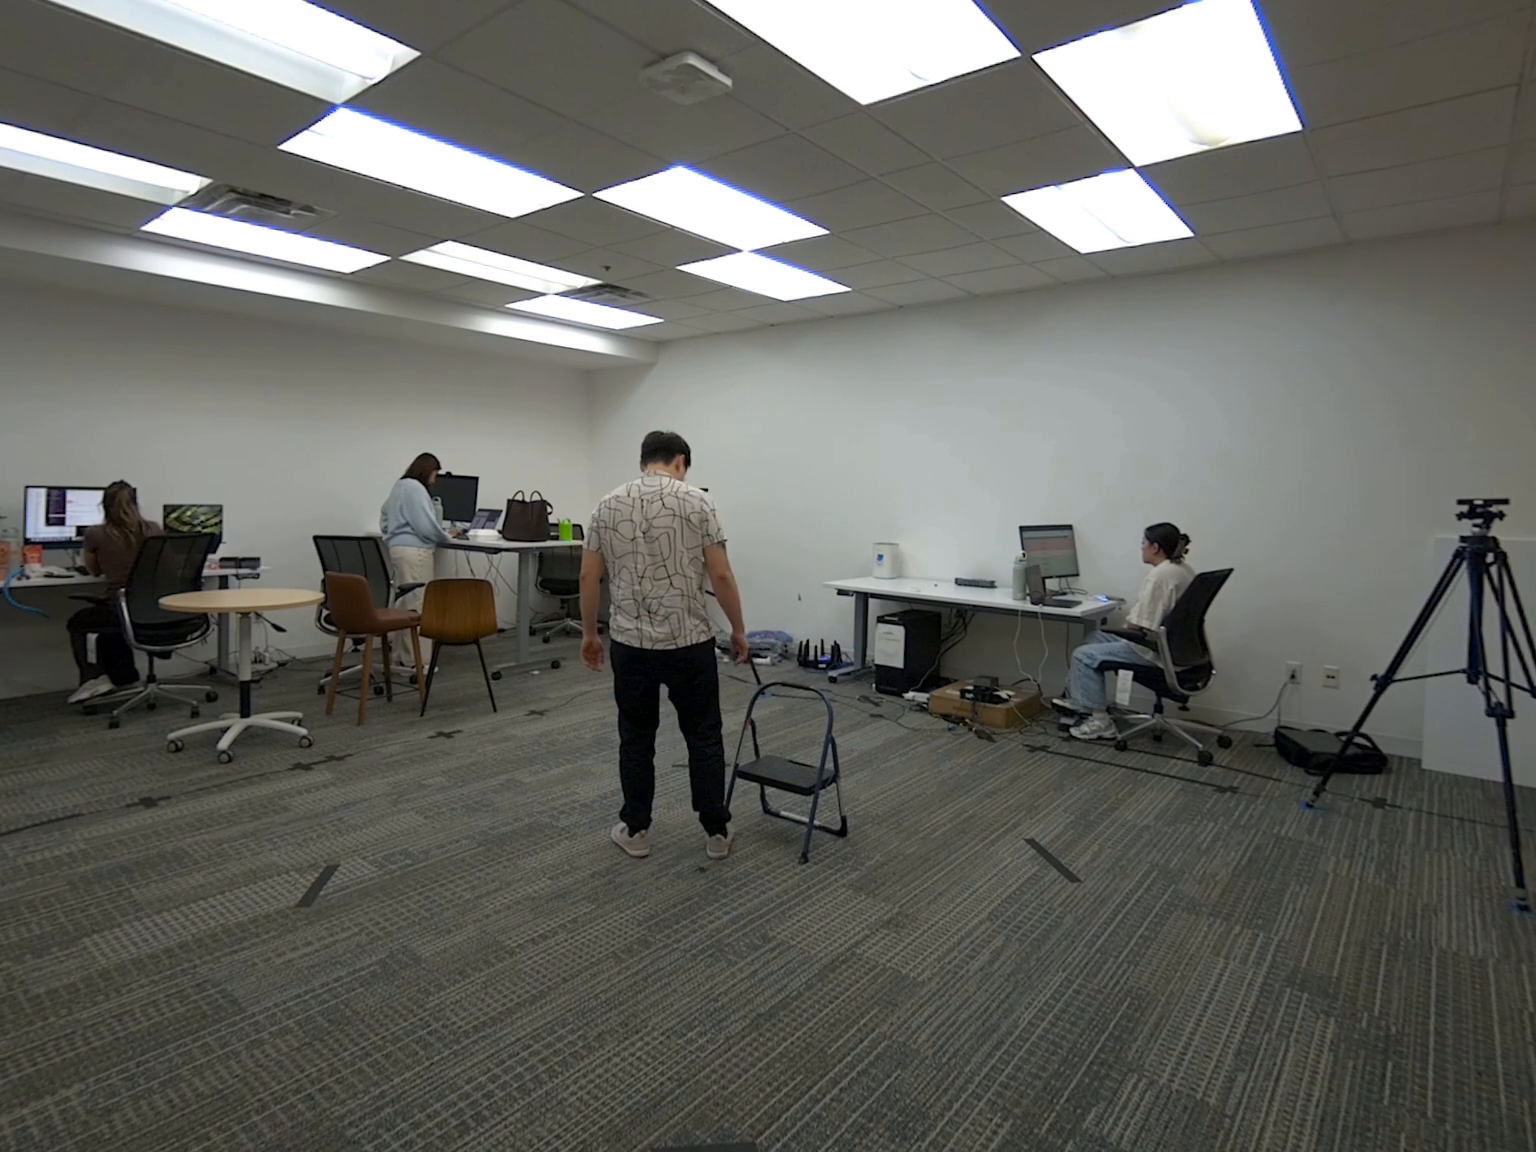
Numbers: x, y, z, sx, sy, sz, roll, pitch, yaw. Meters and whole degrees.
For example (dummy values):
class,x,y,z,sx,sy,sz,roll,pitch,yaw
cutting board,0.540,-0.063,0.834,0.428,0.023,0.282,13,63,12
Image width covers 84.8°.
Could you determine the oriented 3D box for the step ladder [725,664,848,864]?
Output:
class,x,y,z,sx,sy,sz,roll,pitch,yaw
step ladder,0.061,0.743,3.425,0.445,0.604,0.339,4,4,36
